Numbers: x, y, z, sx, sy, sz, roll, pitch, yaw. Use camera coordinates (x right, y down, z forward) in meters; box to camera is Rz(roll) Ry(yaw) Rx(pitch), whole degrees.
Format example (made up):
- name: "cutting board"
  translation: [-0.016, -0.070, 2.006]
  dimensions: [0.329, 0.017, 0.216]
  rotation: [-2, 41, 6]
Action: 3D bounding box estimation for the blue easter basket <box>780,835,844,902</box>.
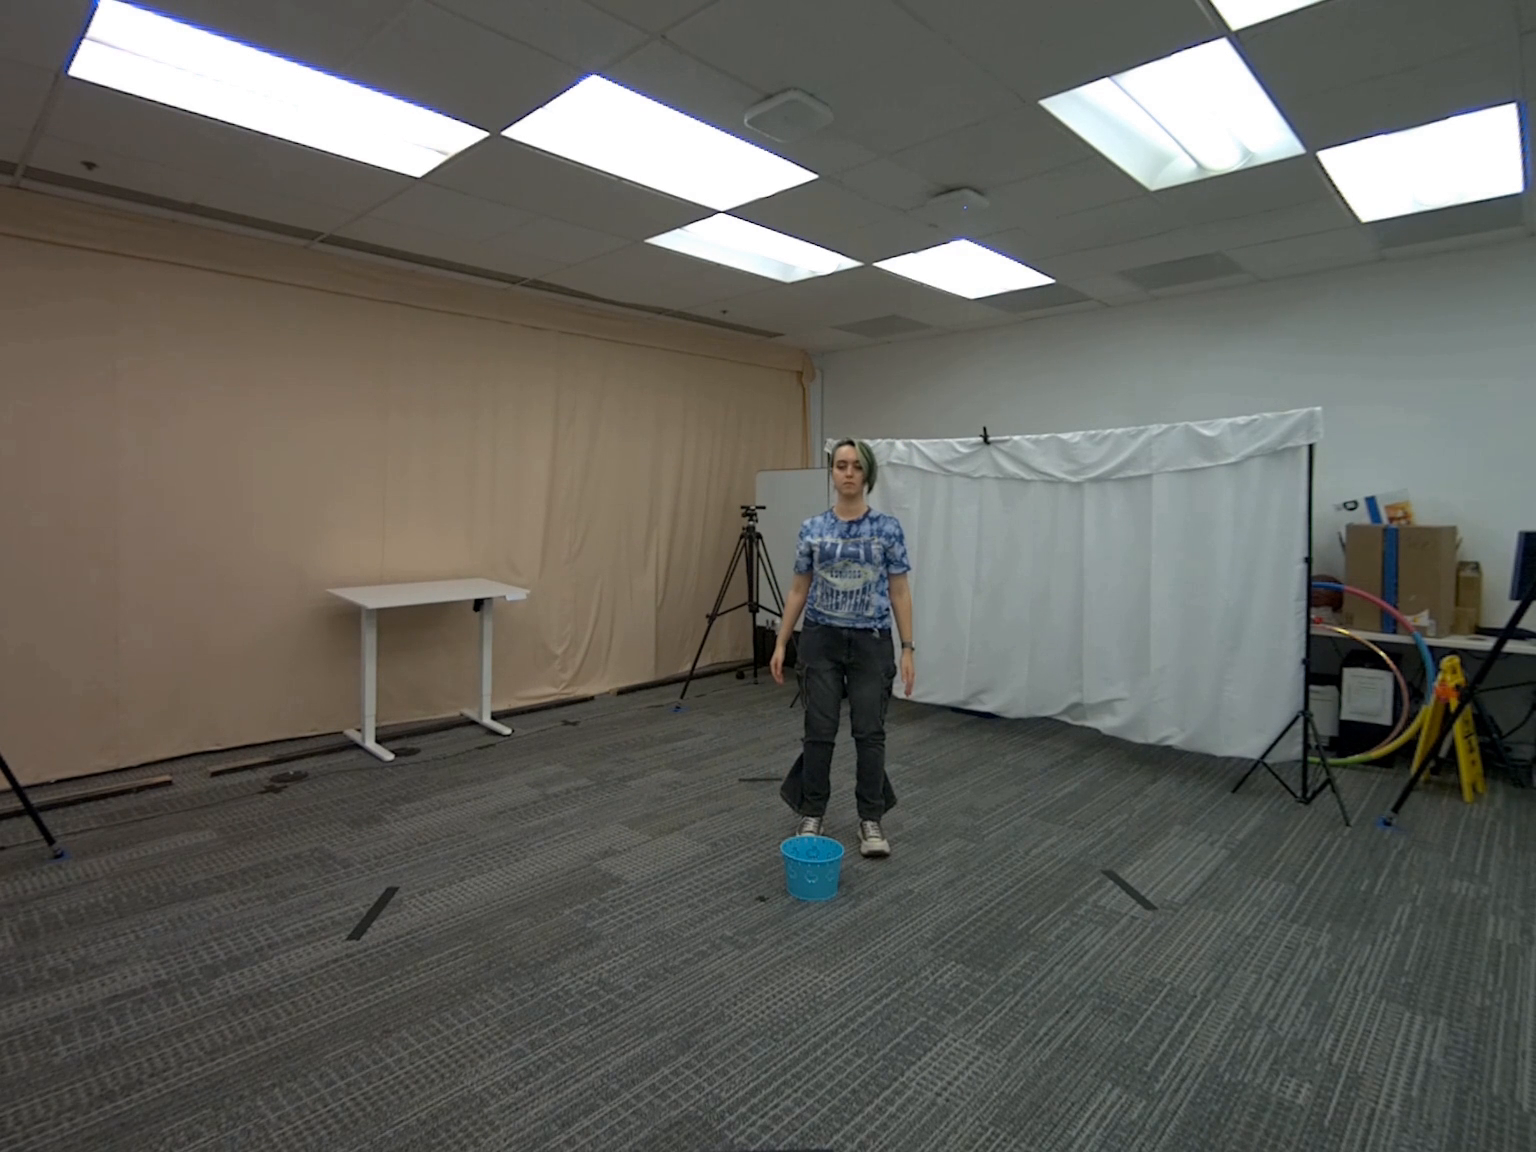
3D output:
- name: "blue easter basket"
  translation: [0.164, 1.056, 3.056]
  dimensions: [0.243, 0.155, 0.244]
  rotation: [0, 3, -2]
